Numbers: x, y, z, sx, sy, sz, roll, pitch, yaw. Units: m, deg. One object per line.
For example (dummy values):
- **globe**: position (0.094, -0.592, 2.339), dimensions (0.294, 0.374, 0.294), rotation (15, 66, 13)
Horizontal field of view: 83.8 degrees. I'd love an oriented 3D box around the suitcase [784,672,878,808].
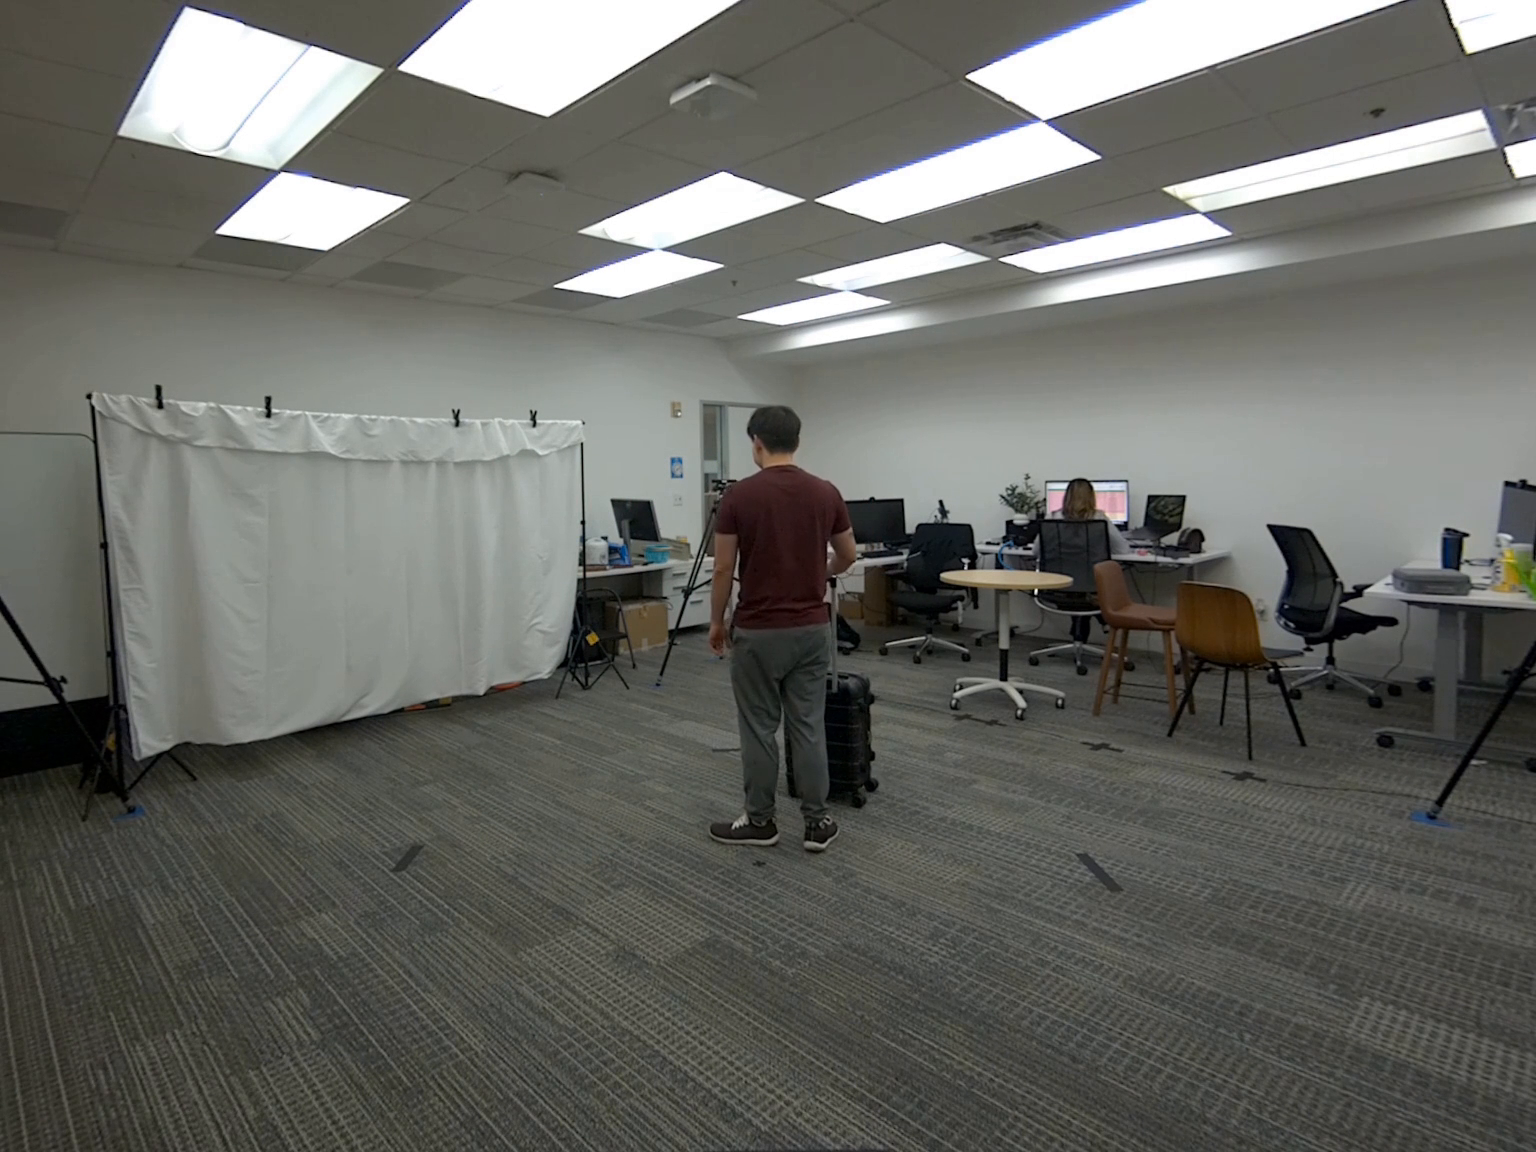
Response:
- **suitcase**: position (0.267, 0.495, 3.784), dimensions (0.392, 0.977, 0.252), rotation (-1, 2, 23)
